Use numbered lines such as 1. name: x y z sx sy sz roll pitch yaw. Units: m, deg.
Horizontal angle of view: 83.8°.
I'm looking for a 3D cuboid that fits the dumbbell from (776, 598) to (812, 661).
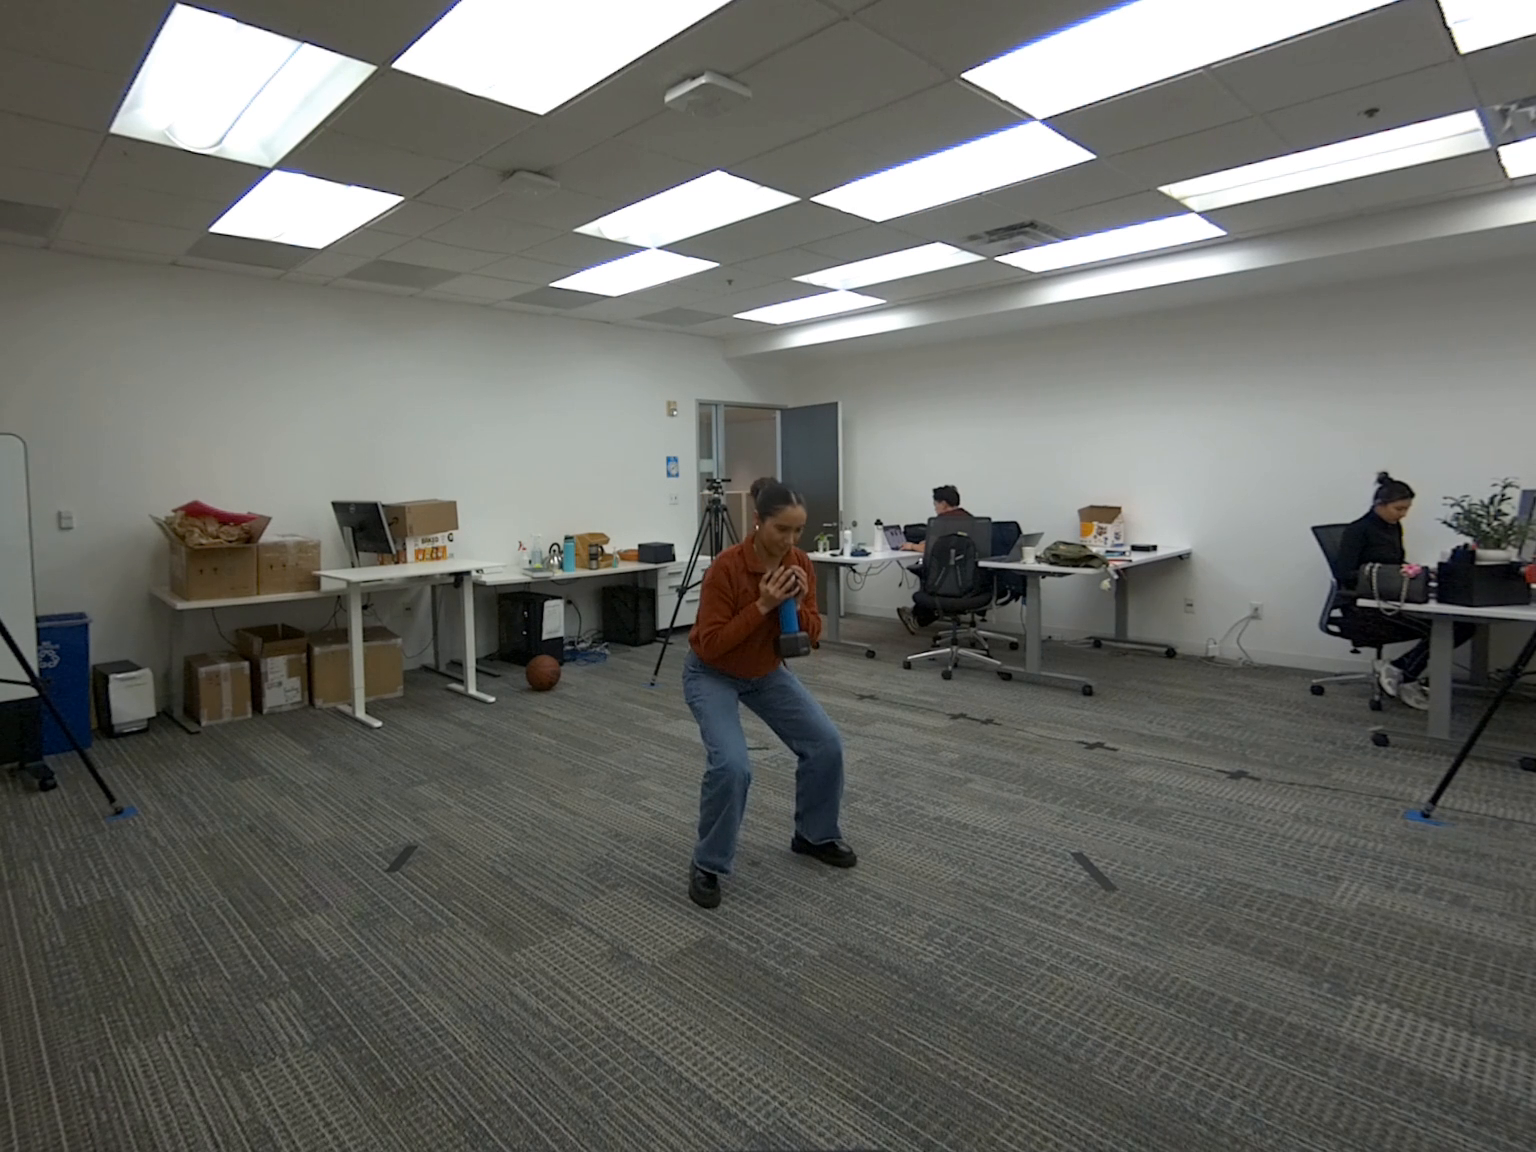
1. dumbbell: 0.048 0.134 2.861 0.120 0.296 0.111 -4 -11 -43
